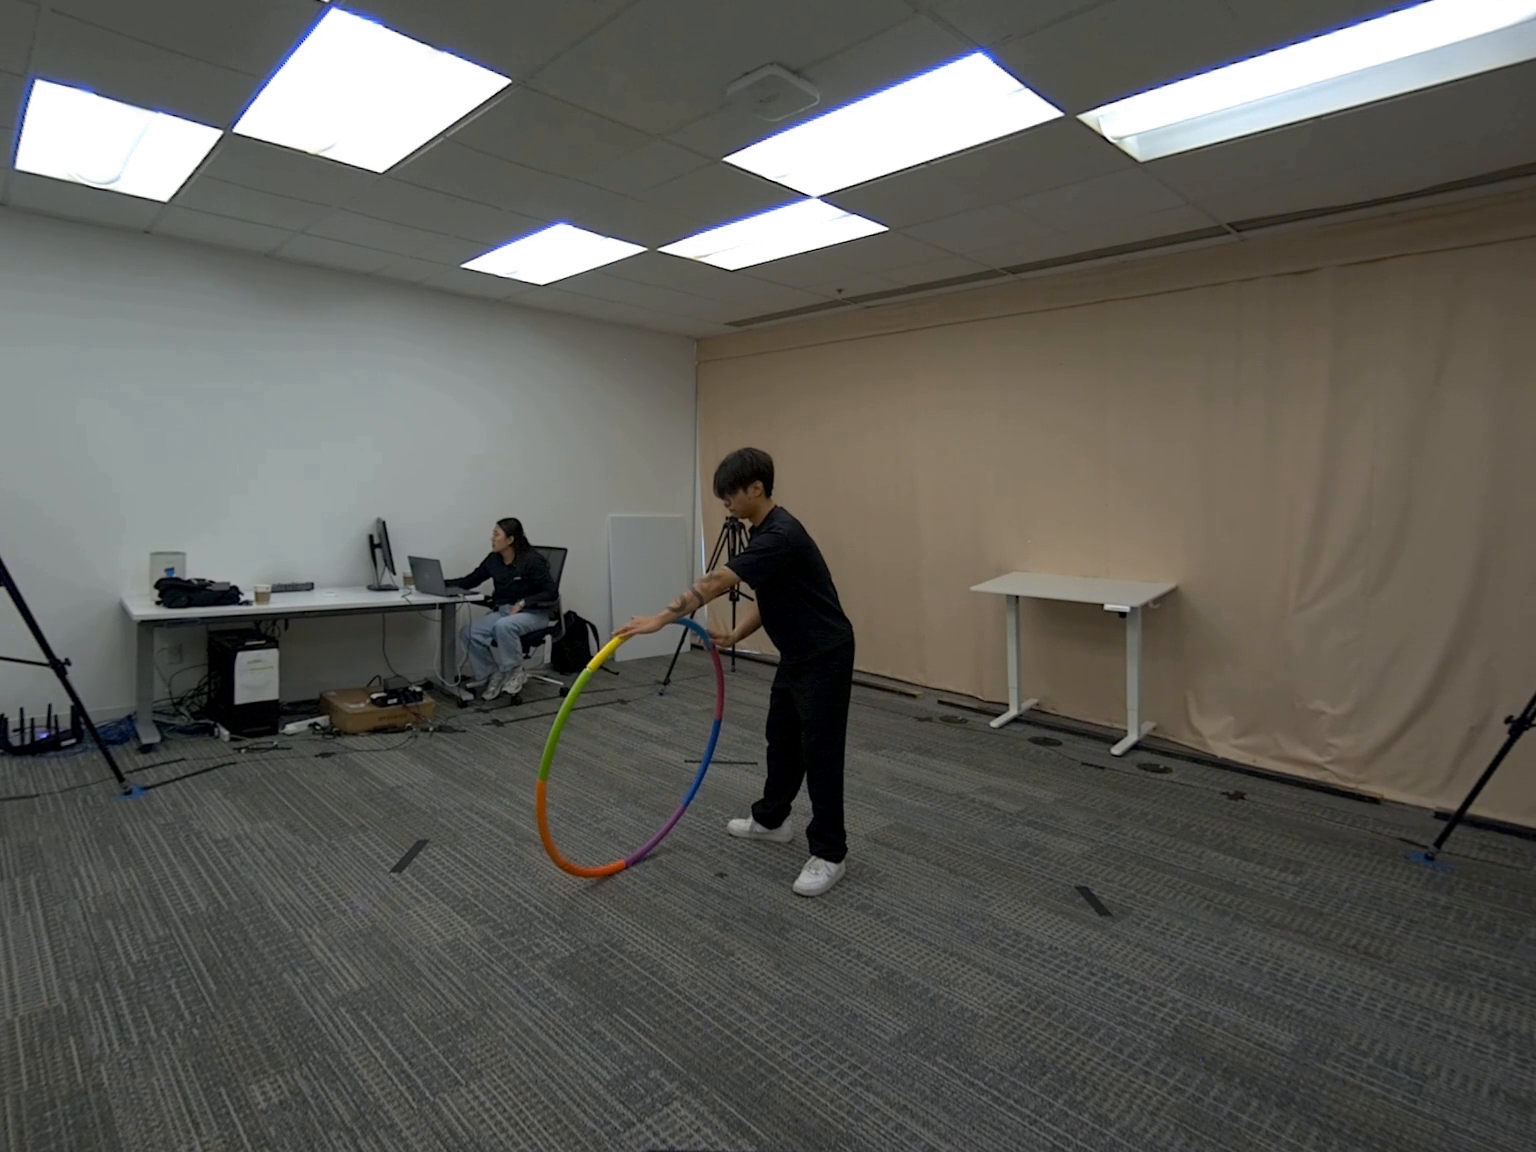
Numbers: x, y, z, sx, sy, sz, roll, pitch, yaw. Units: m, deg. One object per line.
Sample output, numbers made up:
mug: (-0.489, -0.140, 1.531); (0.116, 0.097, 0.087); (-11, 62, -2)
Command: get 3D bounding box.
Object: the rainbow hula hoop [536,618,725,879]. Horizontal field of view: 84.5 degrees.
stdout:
rainbow hula hoop: (-0.476, 0.623, 3.066); (0.036, 0.973, 0.959); (15, 11, 30)
